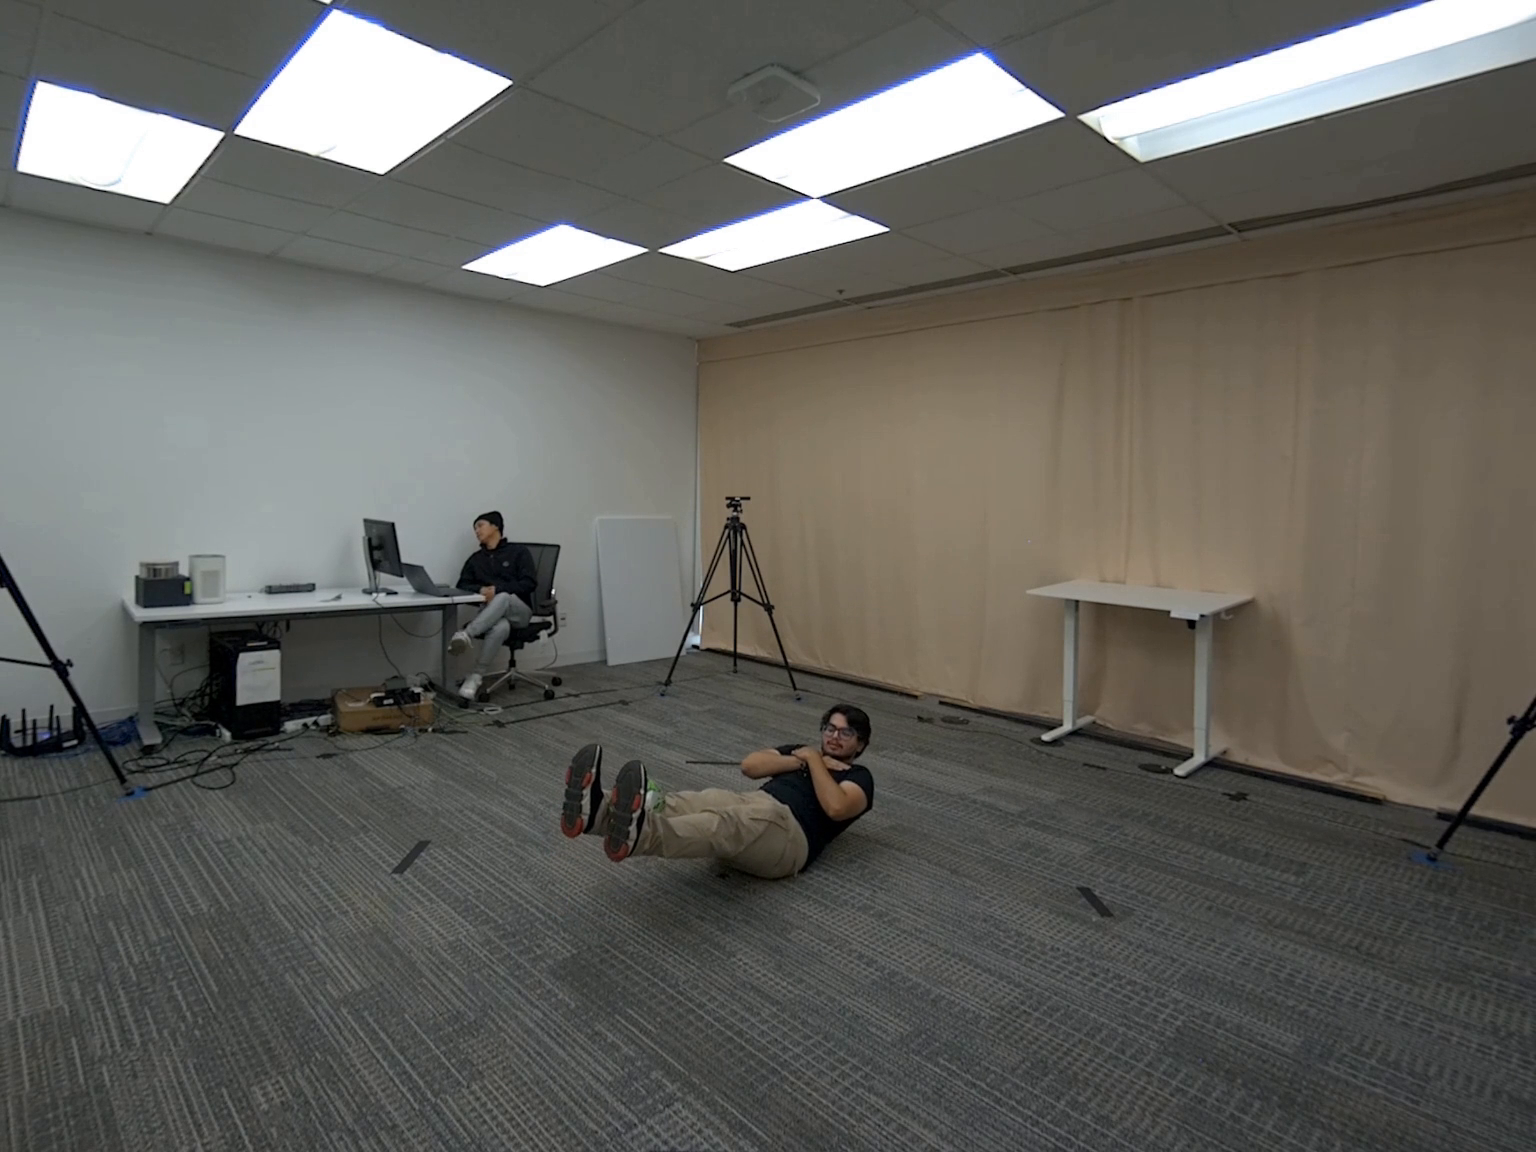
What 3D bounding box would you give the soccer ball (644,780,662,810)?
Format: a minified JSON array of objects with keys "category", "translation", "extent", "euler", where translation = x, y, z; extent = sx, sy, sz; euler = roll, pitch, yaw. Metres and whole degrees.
[{"category":"soccer ball","translation":[-0.432,0.753,2.727],"extent":[0.187,0.187,0.188],"euler":[1,5,-1]}]
